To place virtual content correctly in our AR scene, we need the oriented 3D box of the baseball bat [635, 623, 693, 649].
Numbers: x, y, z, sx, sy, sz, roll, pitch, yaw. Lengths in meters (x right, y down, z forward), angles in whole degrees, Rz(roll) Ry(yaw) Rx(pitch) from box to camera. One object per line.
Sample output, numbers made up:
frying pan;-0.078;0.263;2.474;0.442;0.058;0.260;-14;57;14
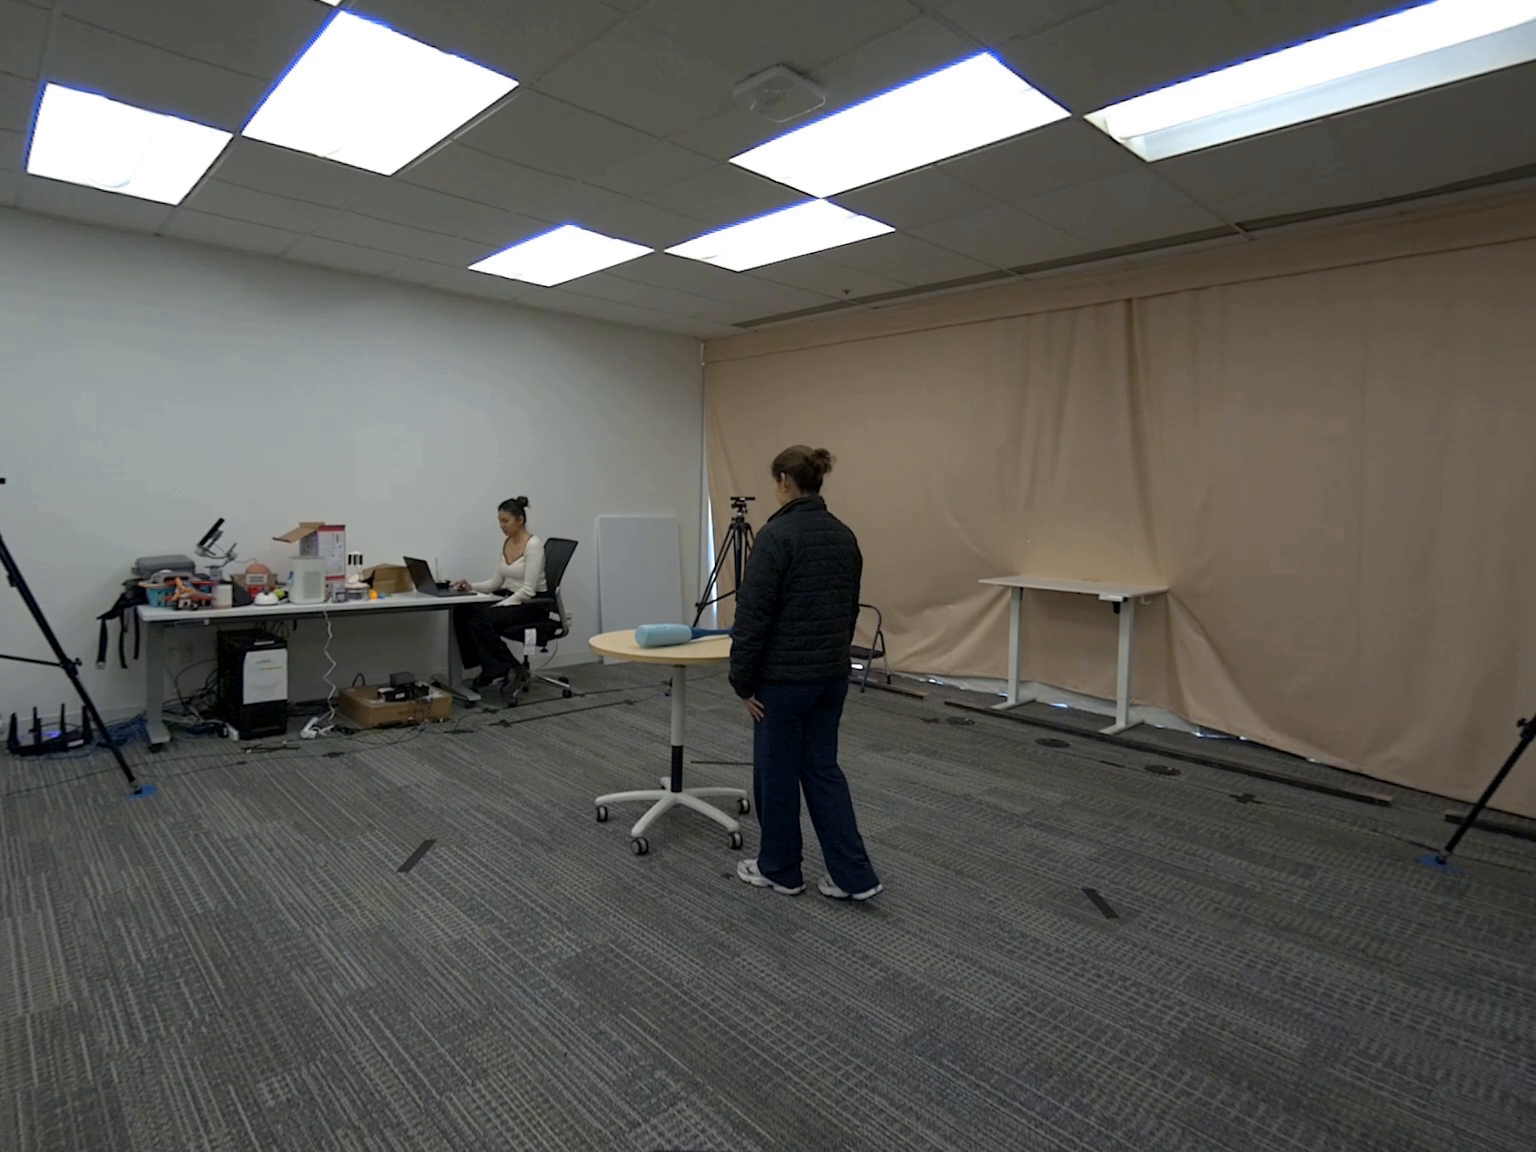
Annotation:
baseball bat;-0.333;0.245;3.528;0.091;0.089;0.530;5;2;41
